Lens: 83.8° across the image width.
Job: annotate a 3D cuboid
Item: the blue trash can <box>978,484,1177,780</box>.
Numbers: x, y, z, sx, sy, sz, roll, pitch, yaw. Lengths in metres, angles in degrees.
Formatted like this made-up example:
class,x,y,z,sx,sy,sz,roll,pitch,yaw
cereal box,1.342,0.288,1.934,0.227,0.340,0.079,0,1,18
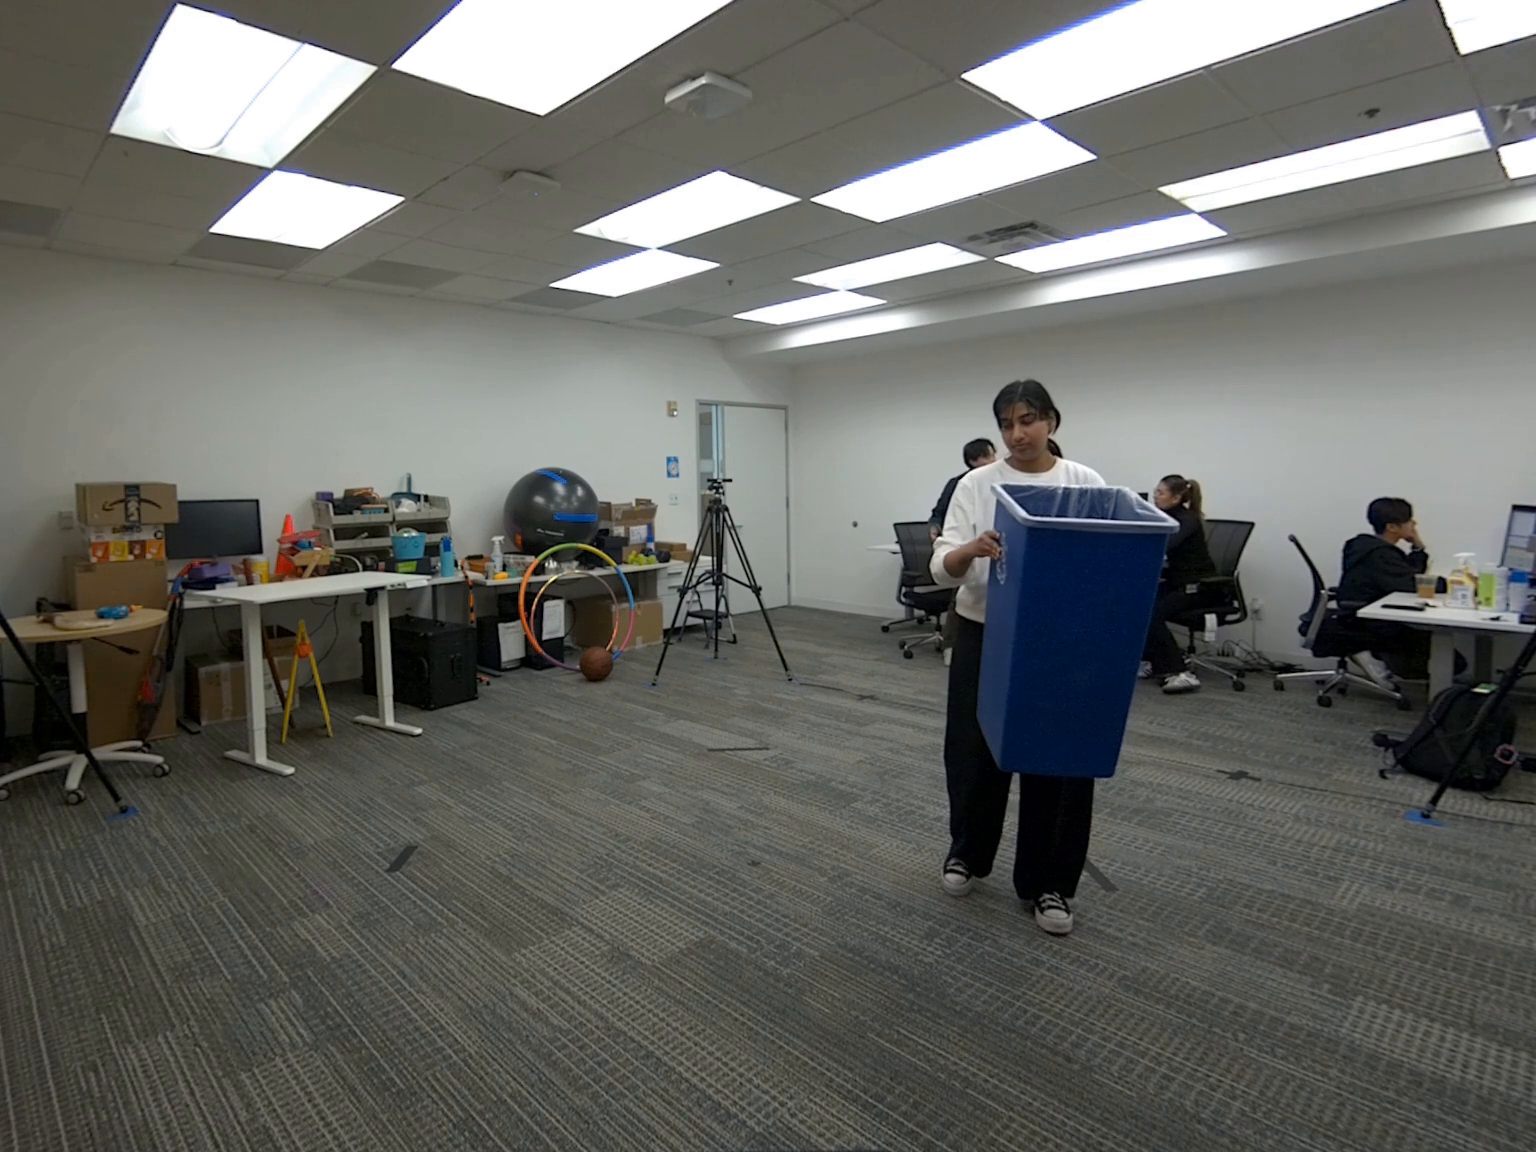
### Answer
class,x,y,z,sx,sy,sz,roll,pitch,yaw
blue trash can,0.797,0.141,2.283,0.379,0.703,0.378,1,17,2
